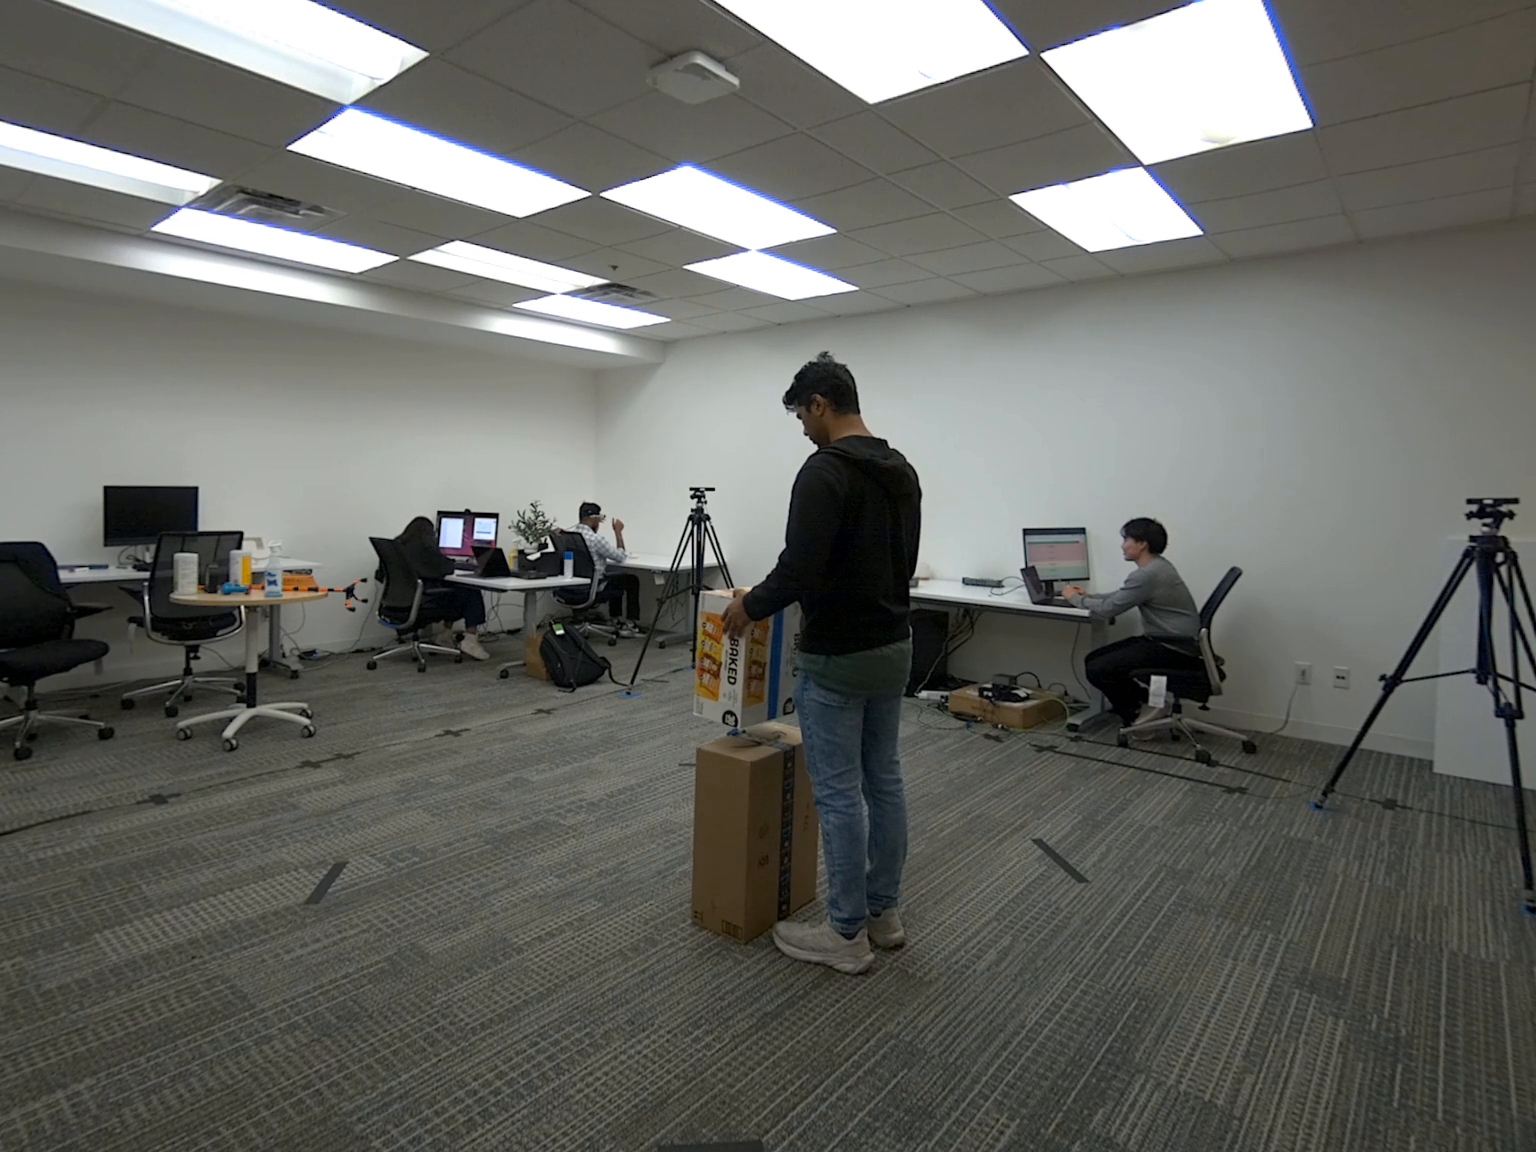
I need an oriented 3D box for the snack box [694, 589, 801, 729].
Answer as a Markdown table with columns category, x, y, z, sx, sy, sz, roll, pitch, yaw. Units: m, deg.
| category | x | y | z | sx | sy | sz | roll | pitch | yaw |
| --- | --- | --- | --- | --- | --- | --- | --- | --- | --- |
| snack box | -0.063 | 0.249 | 2.816 | 0.213 | 0.404 | 0.330 | 7 | 6 | 38 |
